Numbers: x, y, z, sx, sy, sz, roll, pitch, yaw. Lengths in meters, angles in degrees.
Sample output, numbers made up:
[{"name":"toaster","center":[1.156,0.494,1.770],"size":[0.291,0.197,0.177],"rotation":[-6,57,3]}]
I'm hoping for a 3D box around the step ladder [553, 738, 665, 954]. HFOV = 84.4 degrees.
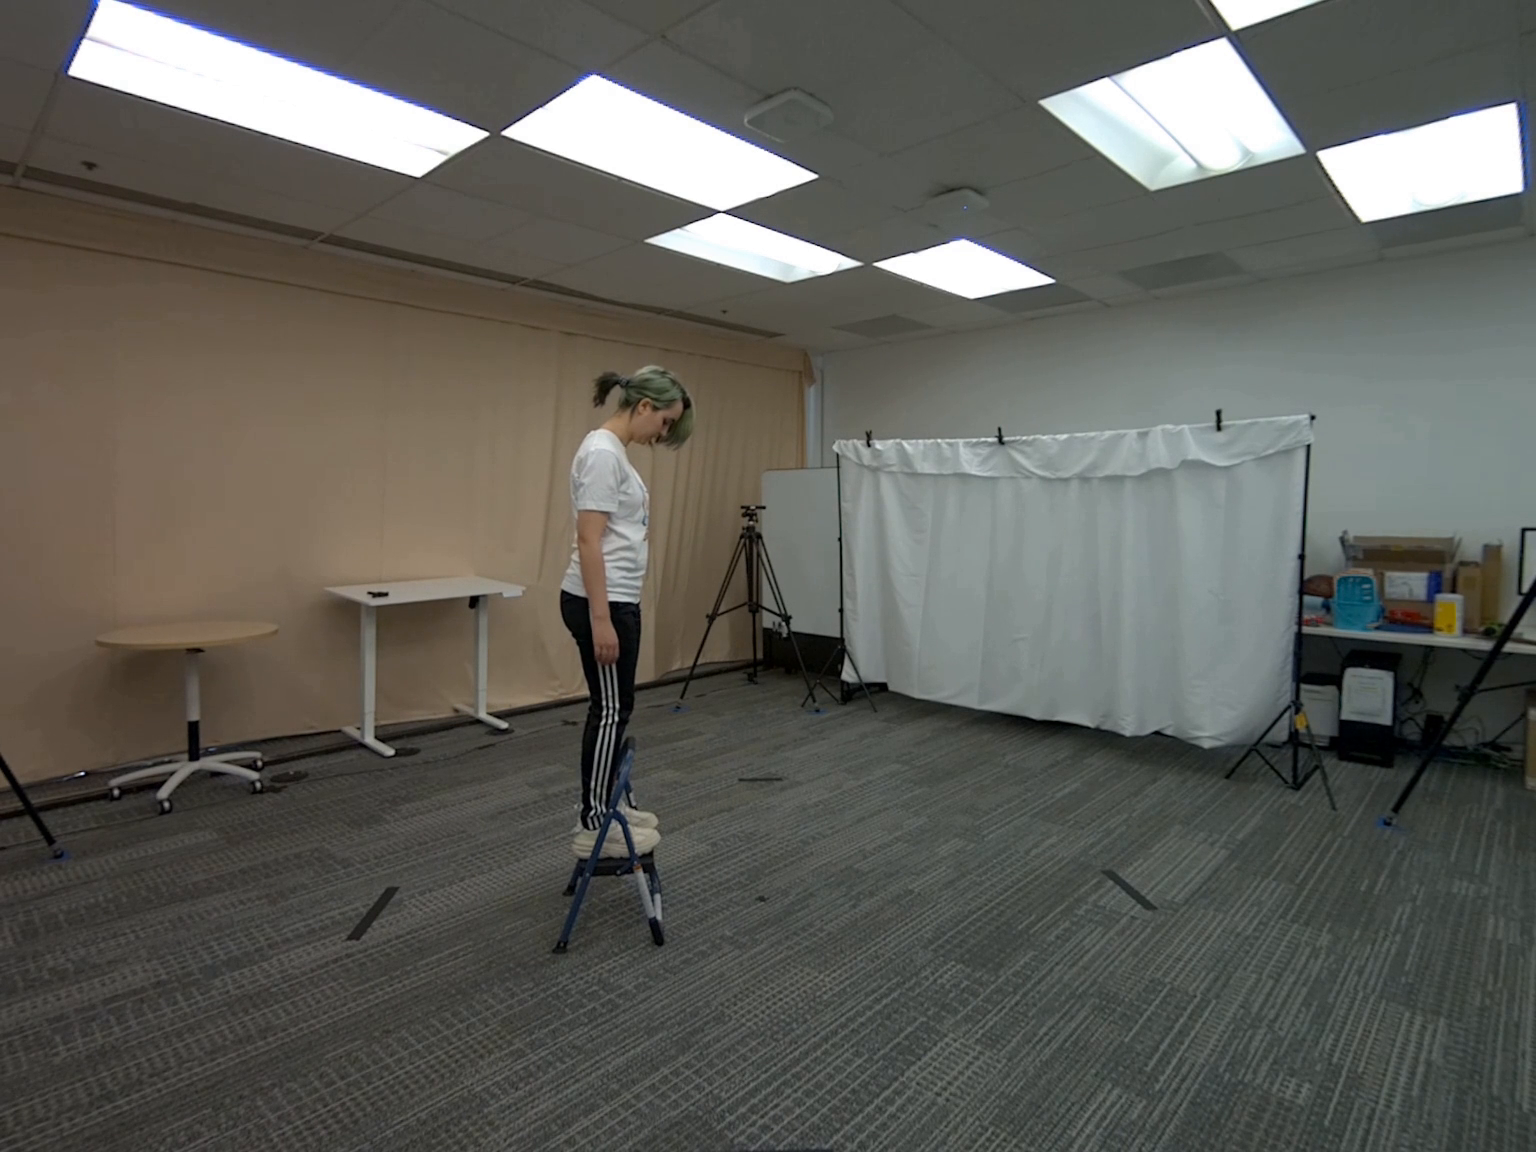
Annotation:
[{"name":"step ladder","center":[-0.531,0.862,2.837],"size":[0.347,0.605,0.435],"rotation":[-2,3,-8]}]
